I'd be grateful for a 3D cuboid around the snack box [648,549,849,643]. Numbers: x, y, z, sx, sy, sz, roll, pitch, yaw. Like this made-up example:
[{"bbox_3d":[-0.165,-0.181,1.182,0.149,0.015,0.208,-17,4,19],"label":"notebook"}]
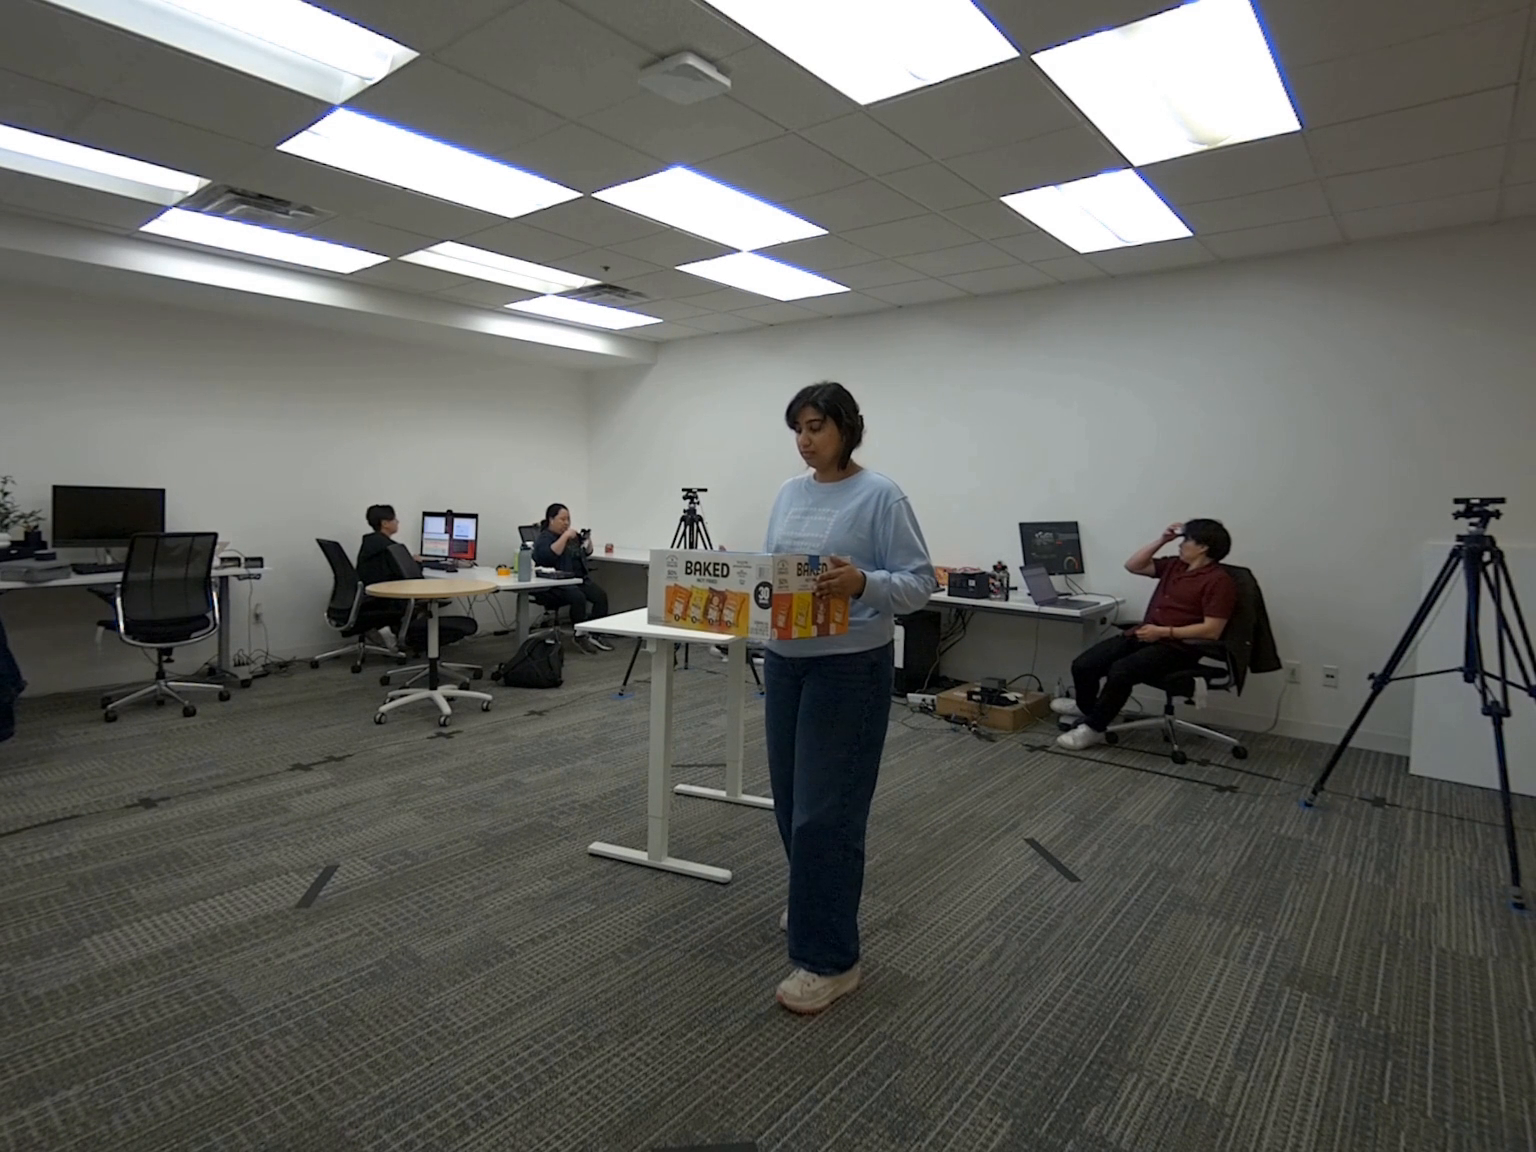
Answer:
[{"bbox_3d":[-0.058,0.036,2.232,0.418,0.206,0.329,4,2,39],"label":"snack box"}]
